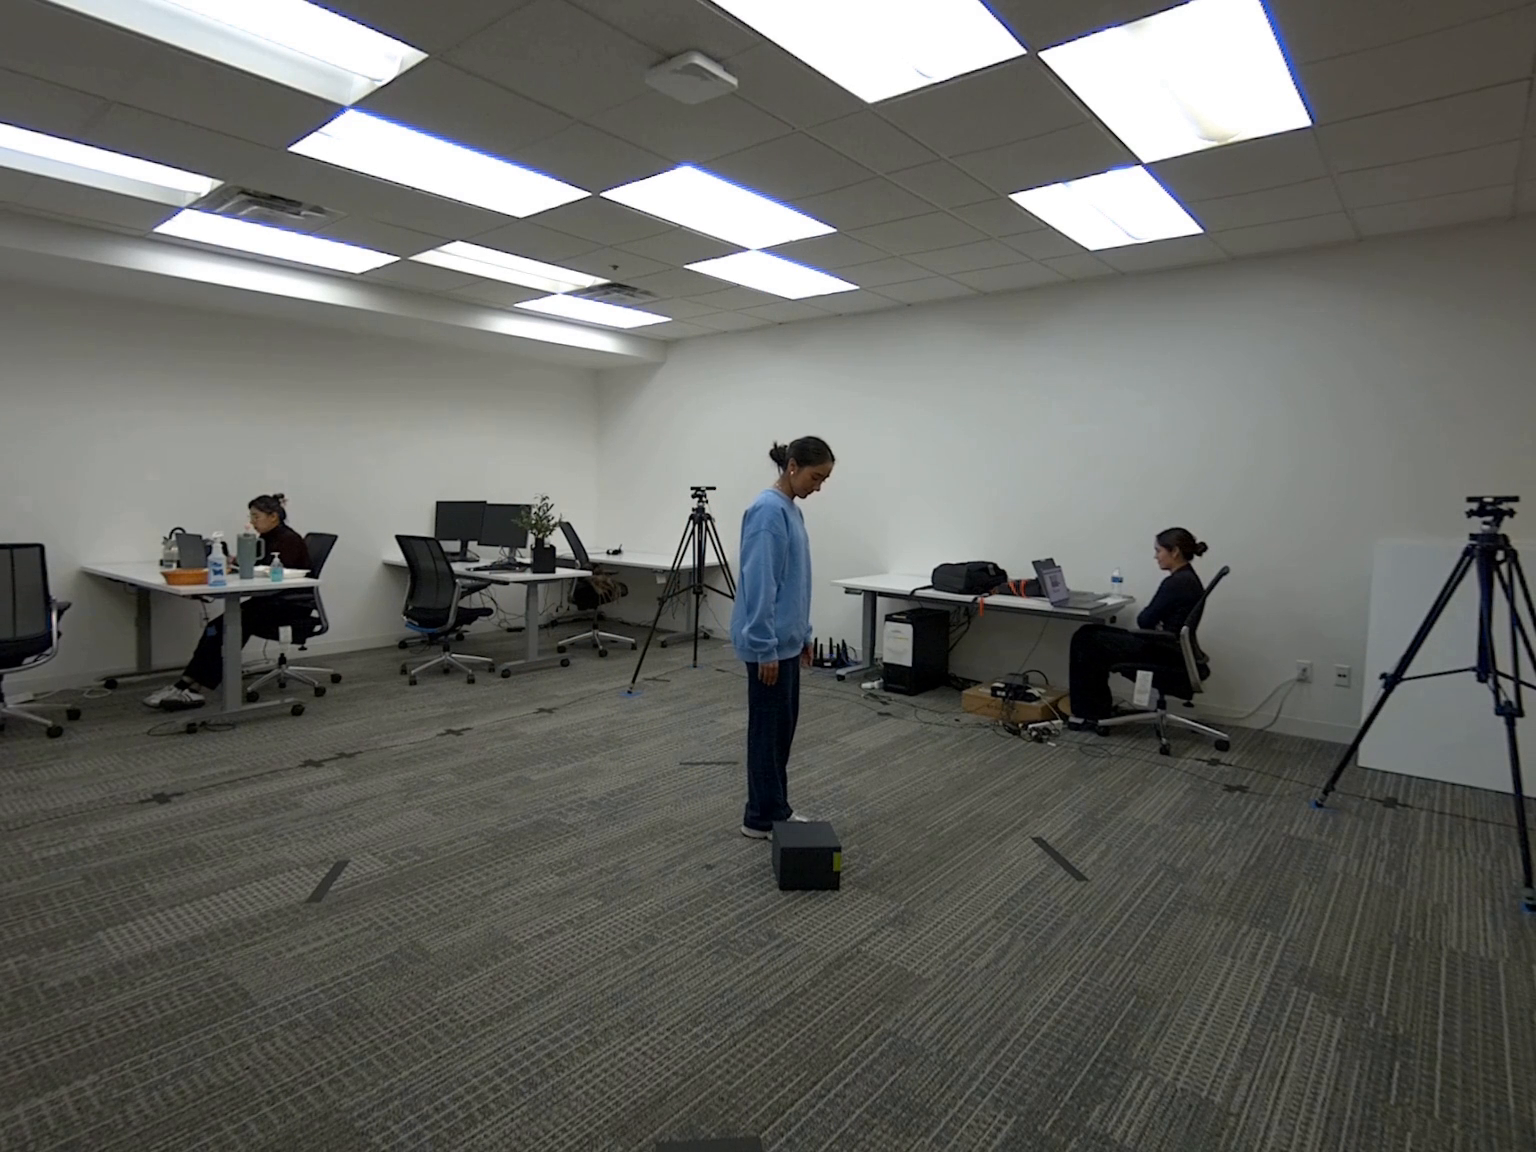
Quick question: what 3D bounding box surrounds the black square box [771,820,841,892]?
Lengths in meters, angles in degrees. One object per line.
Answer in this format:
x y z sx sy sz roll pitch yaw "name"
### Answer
0.128 0.990 3.051 0.216 0.155 0.230 2 5 -6 "black square box"
